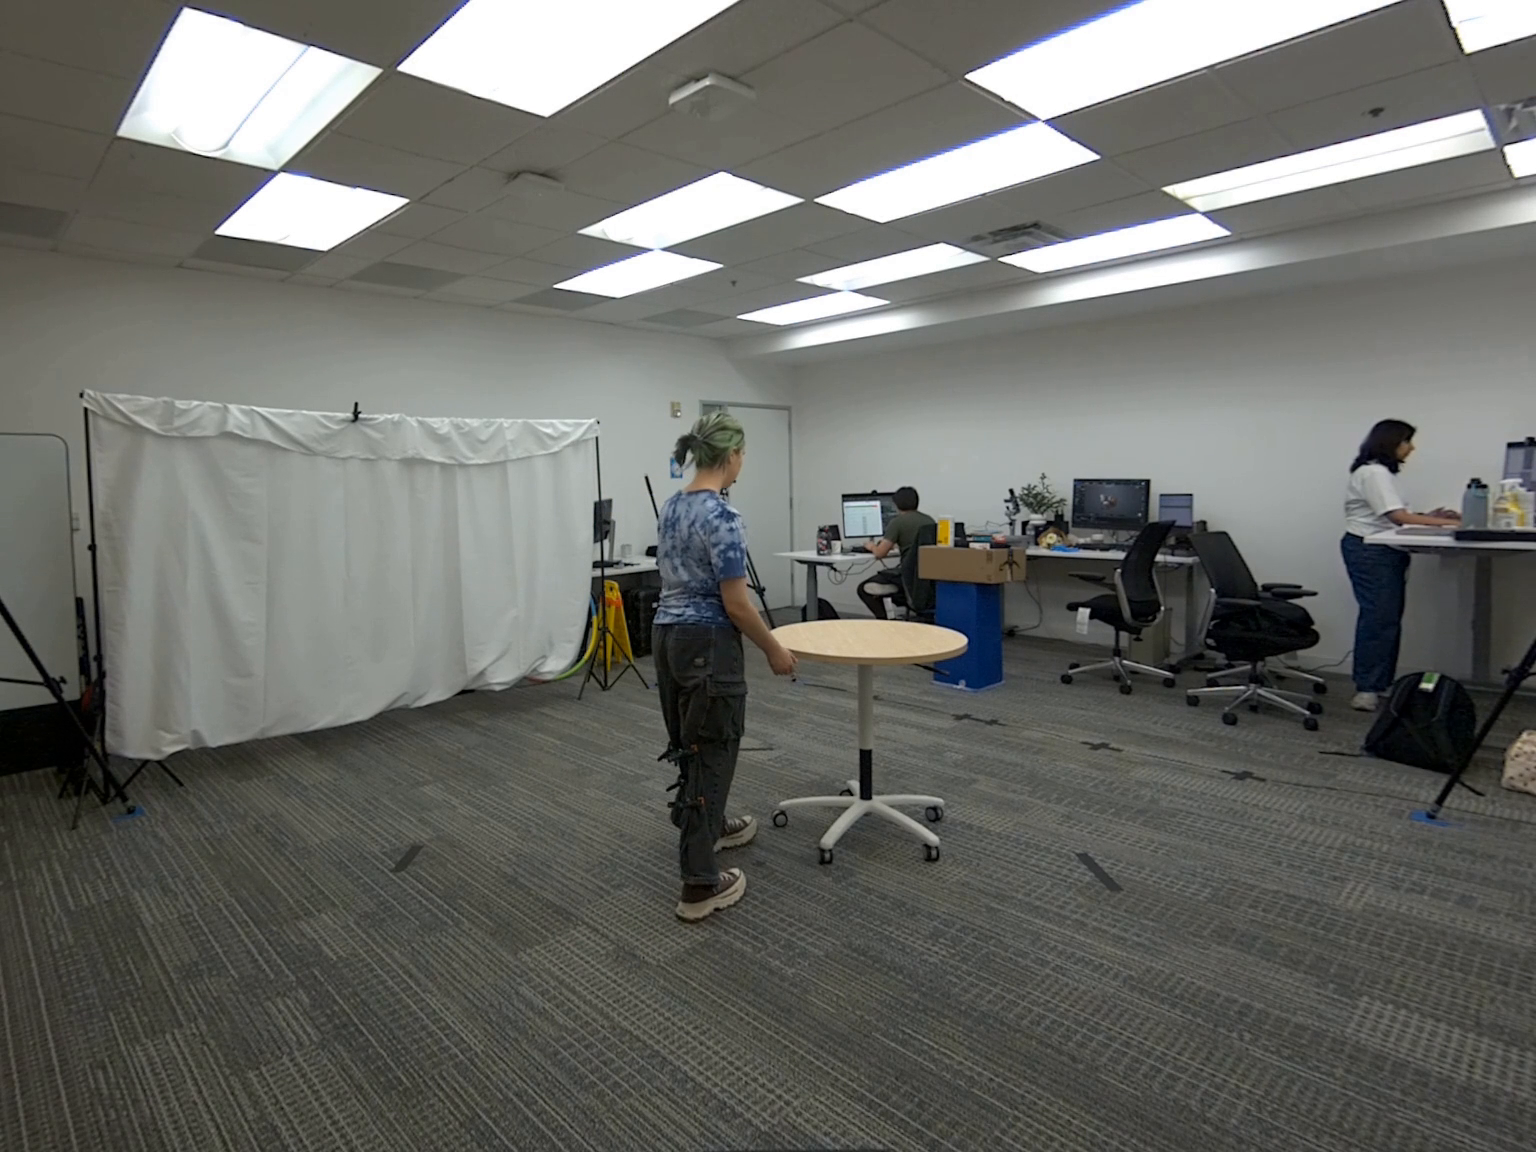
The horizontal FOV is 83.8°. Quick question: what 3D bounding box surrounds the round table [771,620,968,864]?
[{"bbox_3d":[0.384,0.625,3.339,0.763,0.791,0.768,-1,5,-2],"label":"round table"}]
